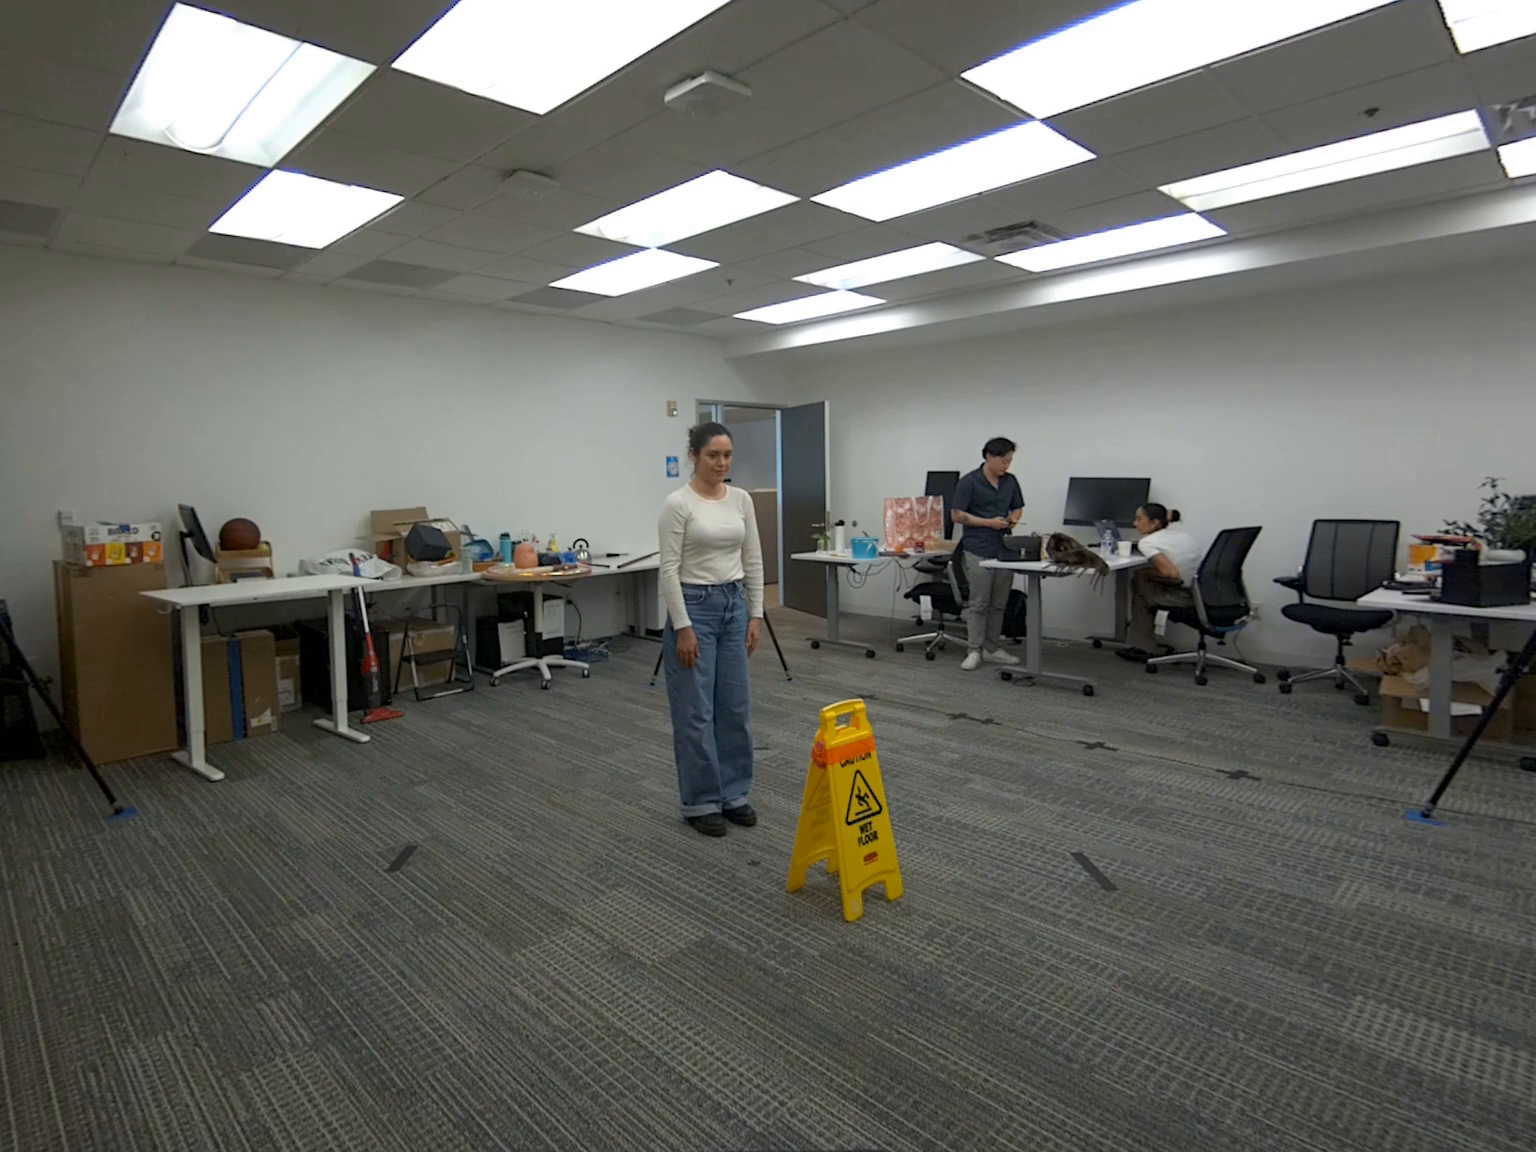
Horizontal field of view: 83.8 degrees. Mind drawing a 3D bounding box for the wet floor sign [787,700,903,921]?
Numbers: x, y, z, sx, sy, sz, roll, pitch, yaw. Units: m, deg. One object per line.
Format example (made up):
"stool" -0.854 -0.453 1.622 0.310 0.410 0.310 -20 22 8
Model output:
"wet floor sign" 0.251 0.741 2.854 0.275 0.644 0.298 -4 4 -42
